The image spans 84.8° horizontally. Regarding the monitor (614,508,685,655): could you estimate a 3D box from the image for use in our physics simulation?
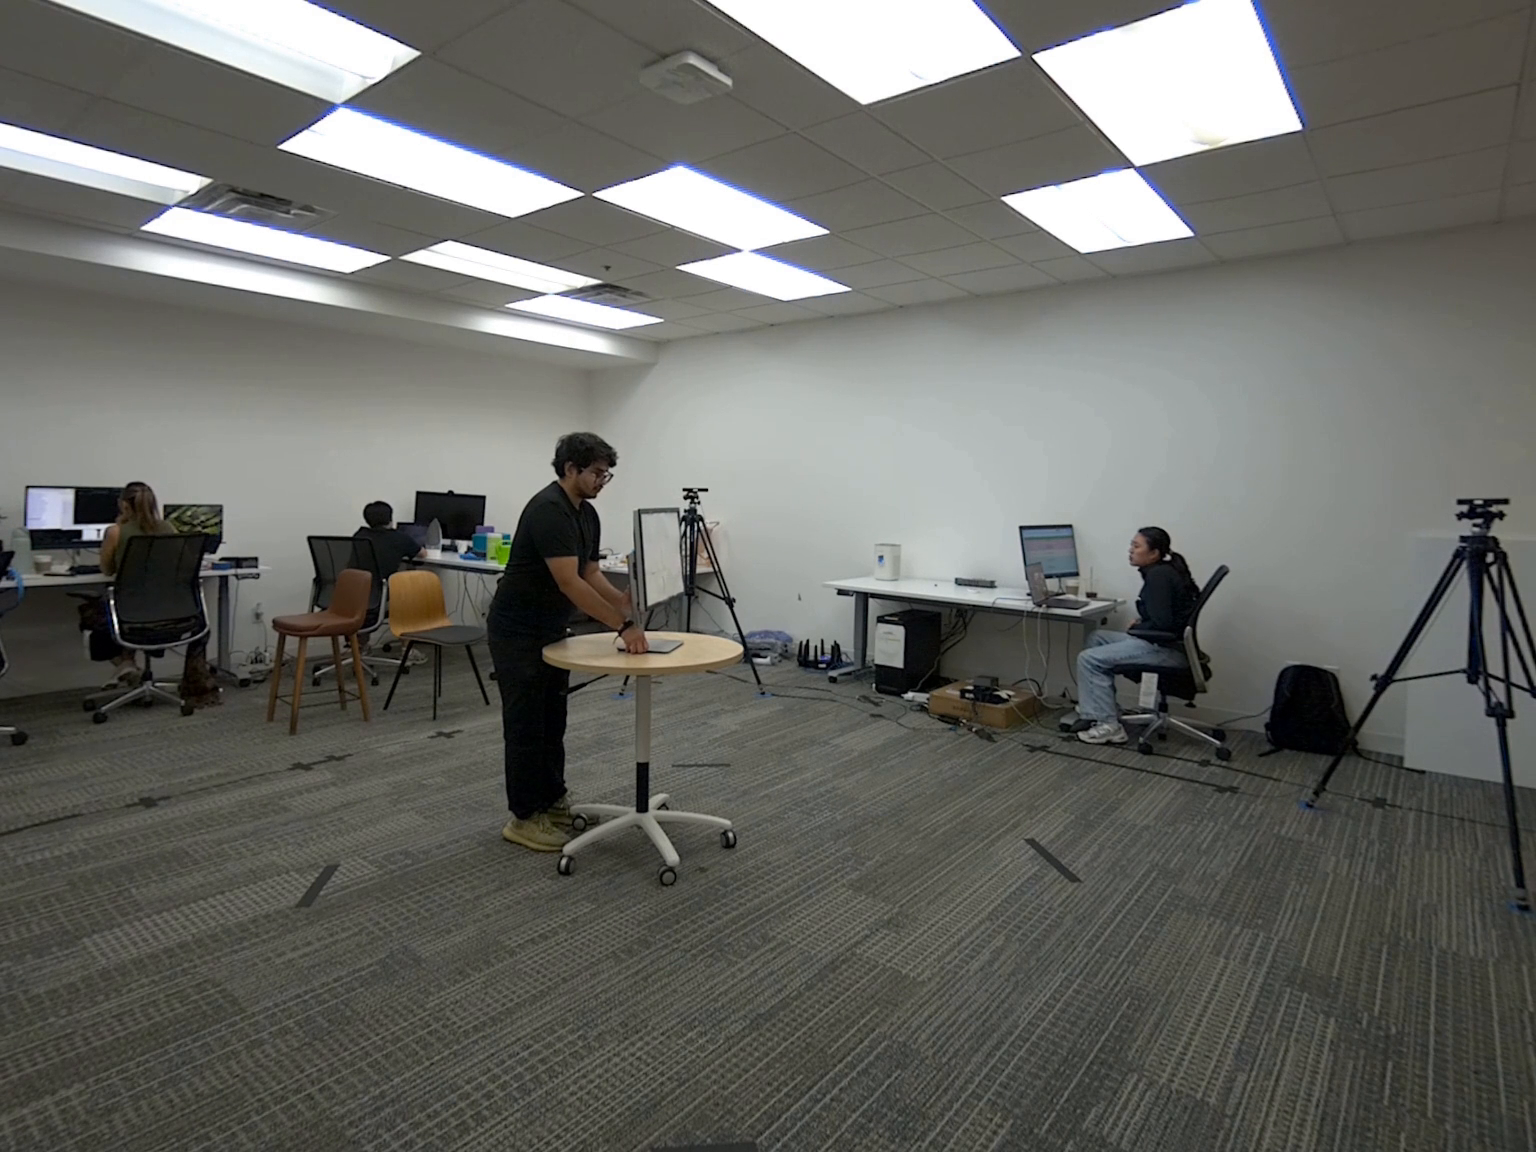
[{"bbox_3d":[-0.480,0.009,3.268,0.213,0.552,0.560,-1,4,11],"label":"monitor"}]
